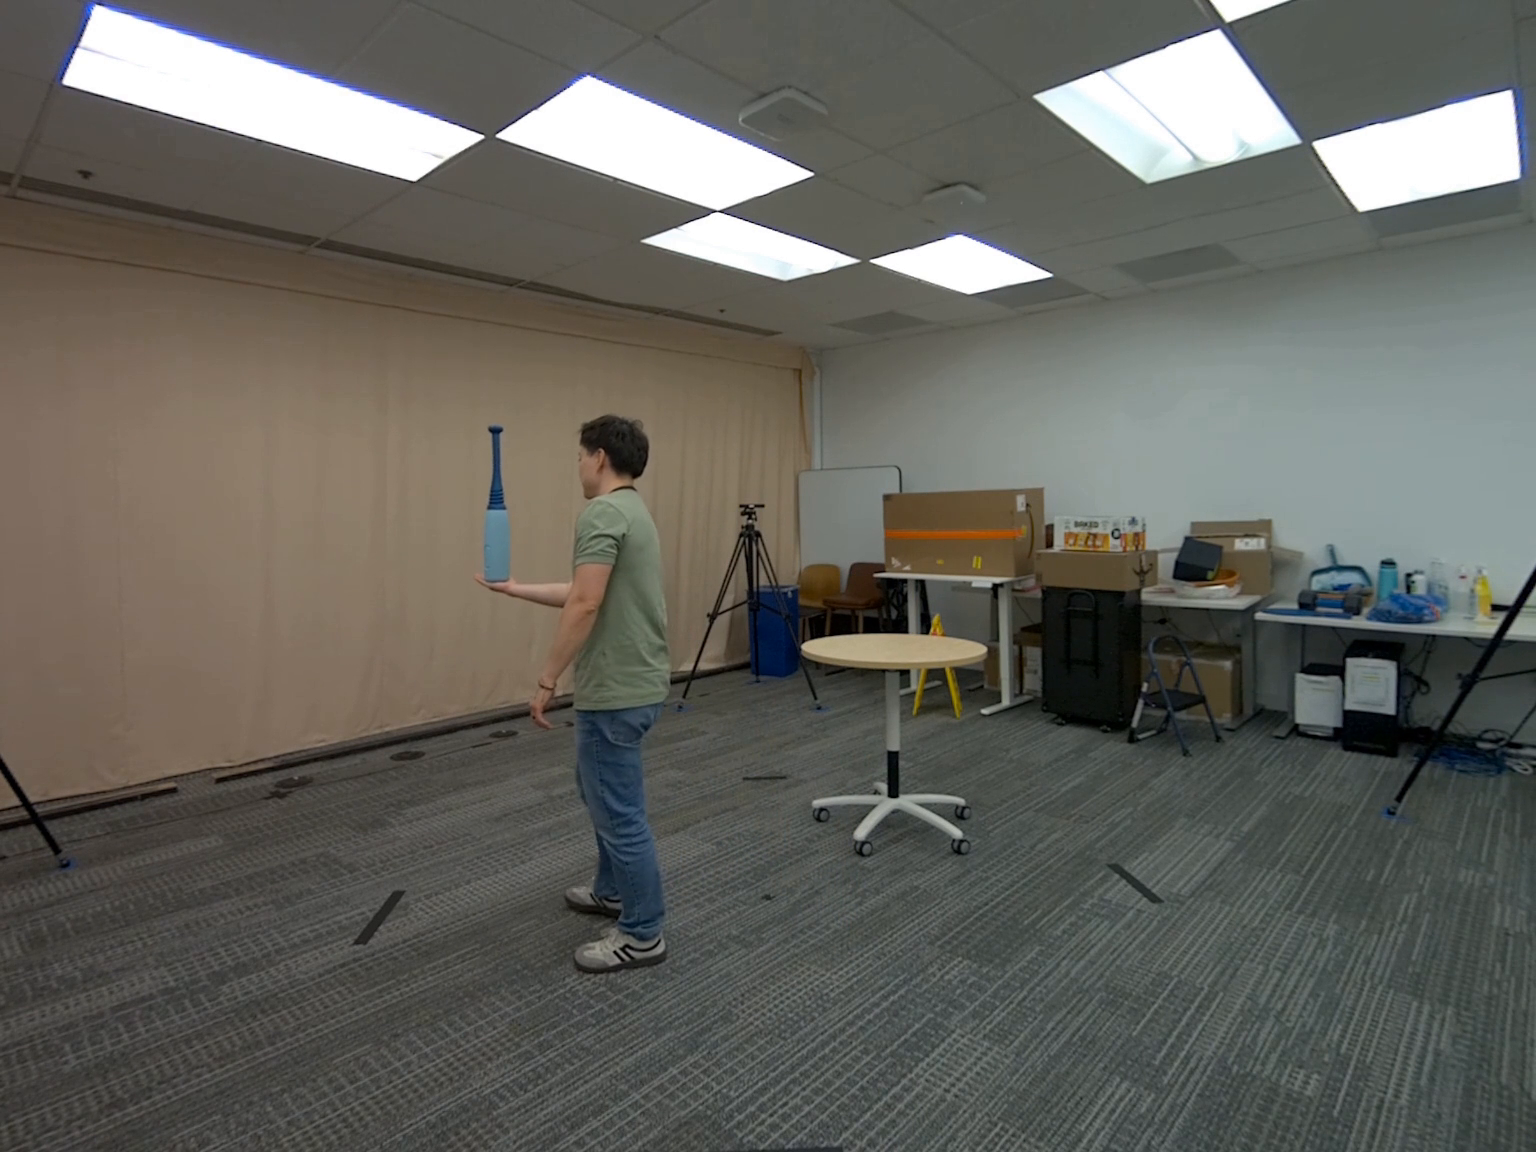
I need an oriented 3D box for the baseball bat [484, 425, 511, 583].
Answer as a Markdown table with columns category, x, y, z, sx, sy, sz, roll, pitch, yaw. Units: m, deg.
| category | x | y | z | sx | sy | sz | roll | pitch | yaw |
| --- | --- | --- | --- | --- | --- | --- | --- | --- | --- |
| baseball bat | -0.931 | -0.246 | 2.926 | 0.089 | 0.543 | 0.089 | 0 | 0 | -2 |
